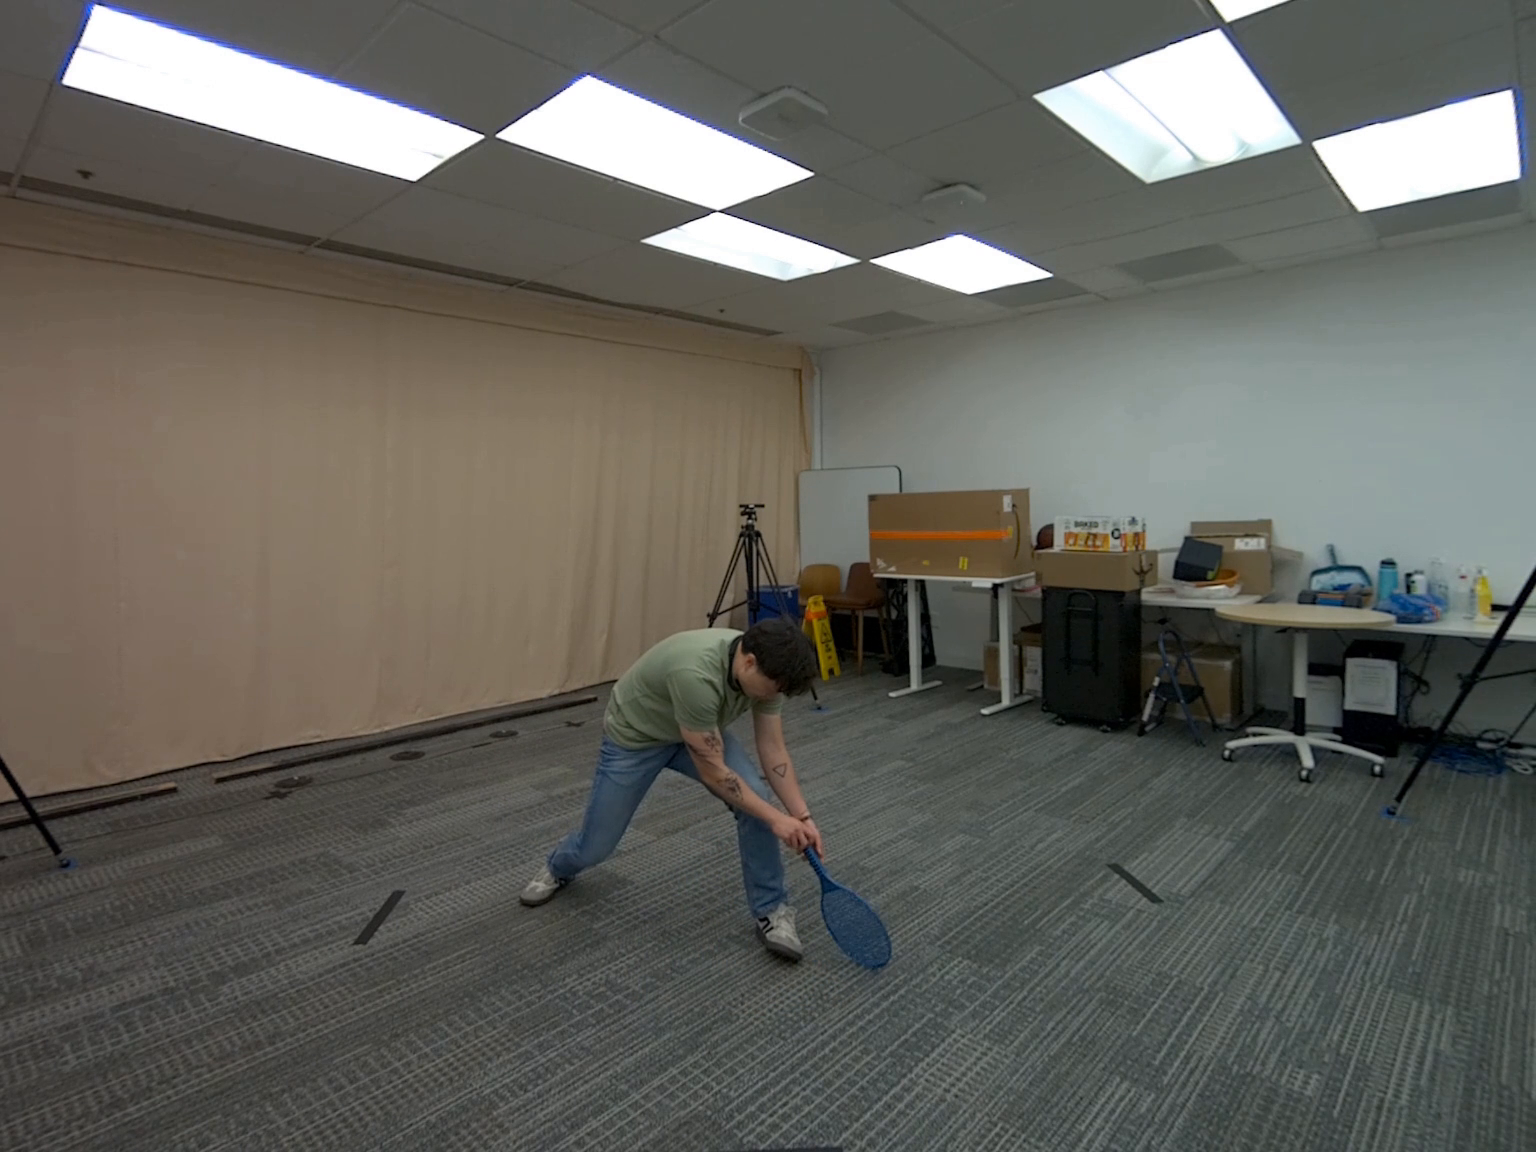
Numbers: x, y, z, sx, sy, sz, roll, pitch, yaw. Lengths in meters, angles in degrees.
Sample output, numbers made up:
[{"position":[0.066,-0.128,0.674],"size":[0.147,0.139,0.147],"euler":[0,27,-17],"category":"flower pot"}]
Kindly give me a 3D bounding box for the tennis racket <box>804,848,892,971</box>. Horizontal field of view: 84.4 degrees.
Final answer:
[{"position":[0.215,0.987,2.534],"size":[0.216,0.437,0.031],"euler":[-42,-11,38],"category":"tennis racket"}]
